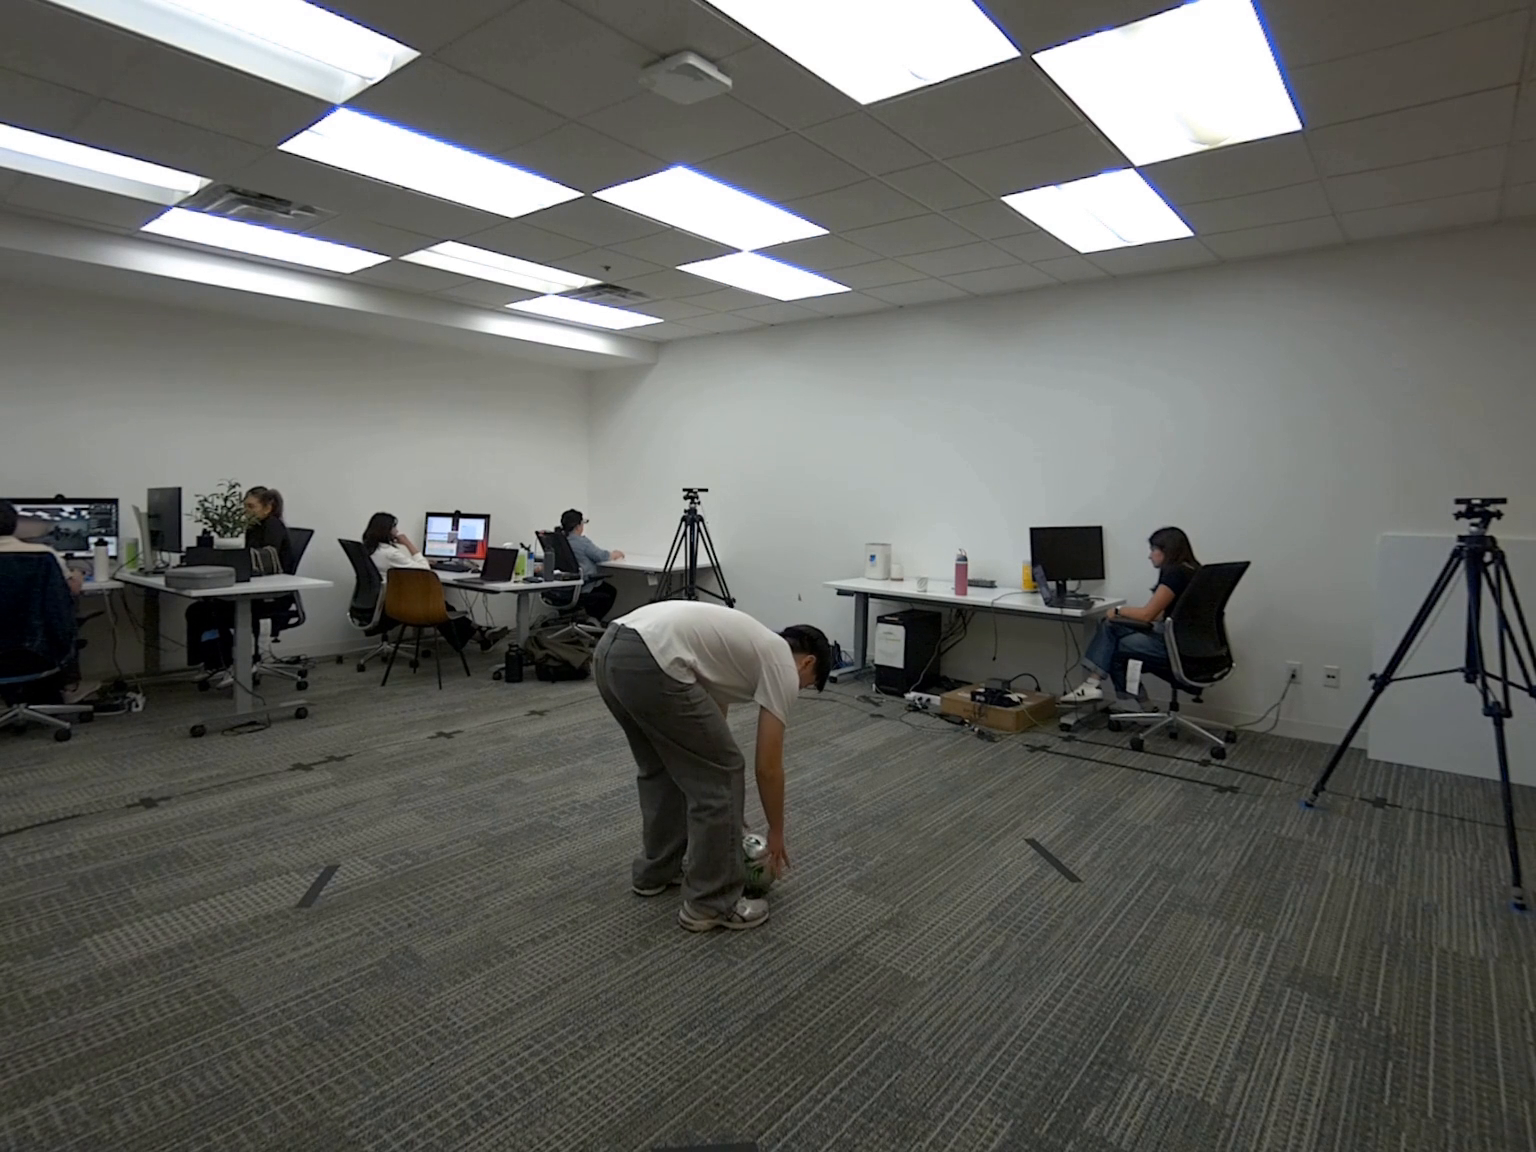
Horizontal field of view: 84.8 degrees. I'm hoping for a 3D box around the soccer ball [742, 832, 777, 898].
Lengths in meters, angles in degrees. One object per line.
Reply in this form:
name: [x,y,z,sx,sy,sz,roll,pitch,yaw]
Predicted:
soccer ball: [-0.058,0.995,2.957,0.187,0.187,0.188,1,4,-2]
